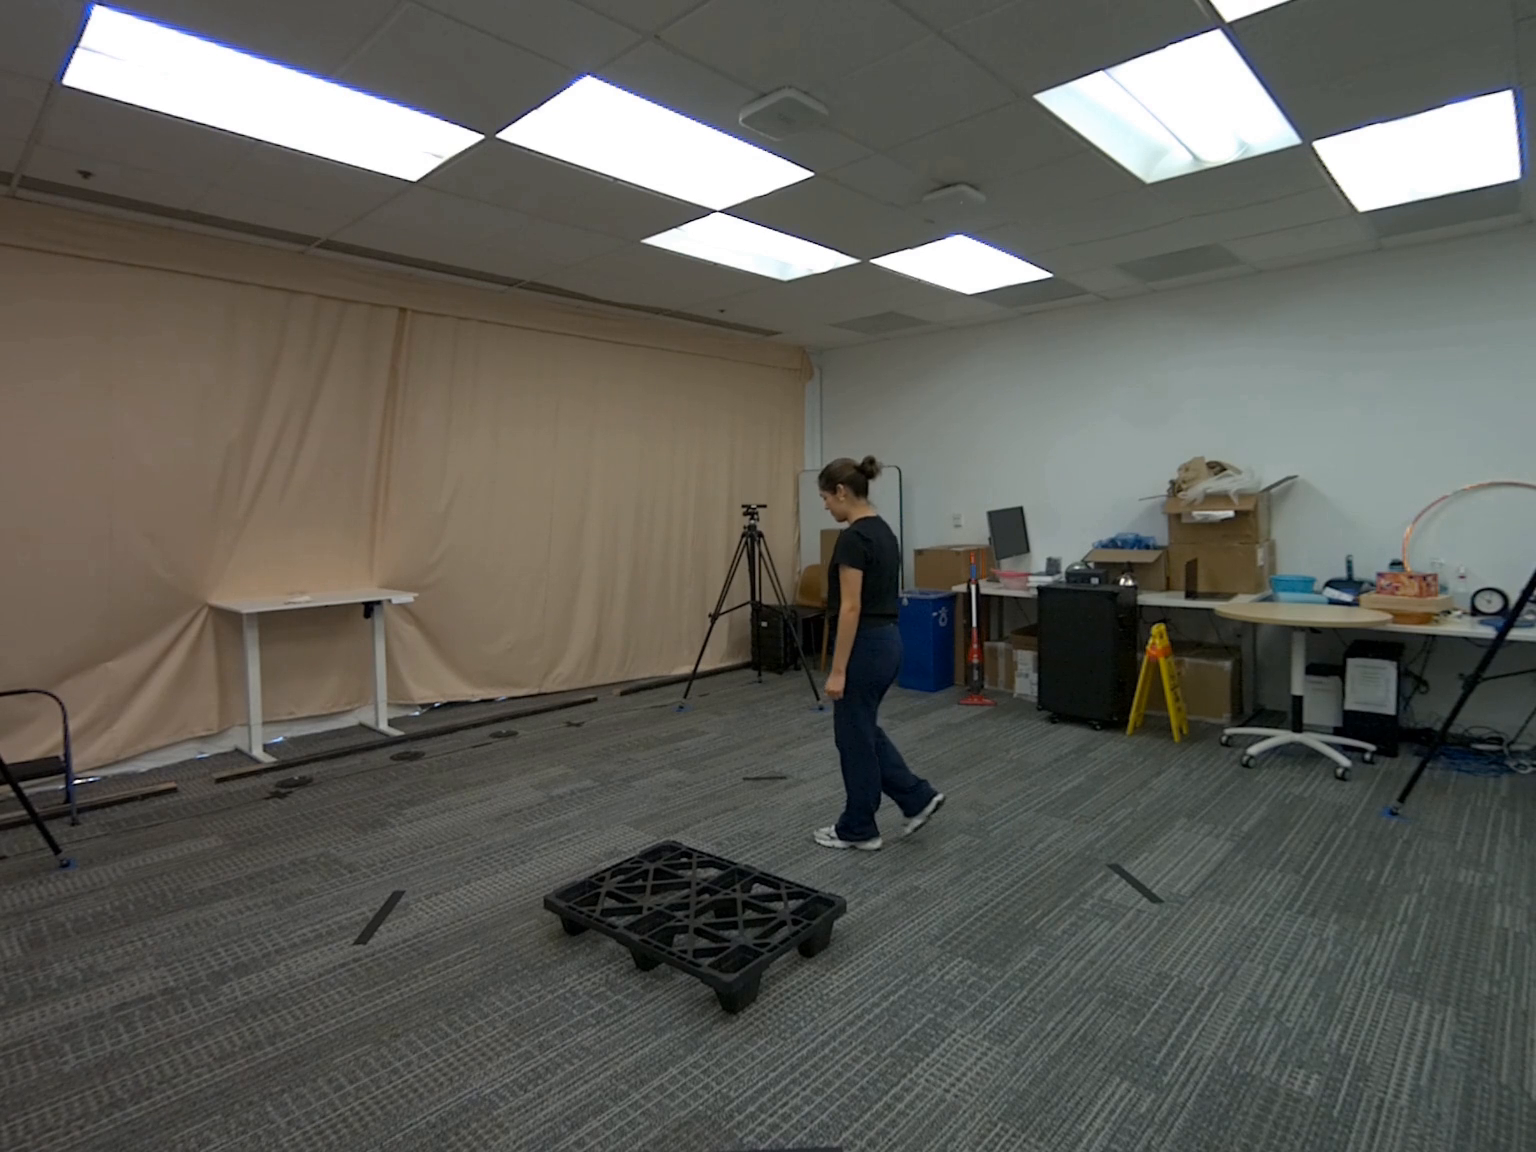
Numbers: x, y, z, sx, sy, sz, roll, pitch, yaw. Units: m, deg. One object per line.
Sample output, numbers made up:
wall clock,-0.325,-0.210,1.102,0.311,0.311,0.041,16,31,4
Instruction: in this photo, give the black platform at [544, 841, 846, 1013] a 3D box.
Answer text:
black platform,-0.223,1.103,2.703,0.832,0.143,0.587,2,7,39
